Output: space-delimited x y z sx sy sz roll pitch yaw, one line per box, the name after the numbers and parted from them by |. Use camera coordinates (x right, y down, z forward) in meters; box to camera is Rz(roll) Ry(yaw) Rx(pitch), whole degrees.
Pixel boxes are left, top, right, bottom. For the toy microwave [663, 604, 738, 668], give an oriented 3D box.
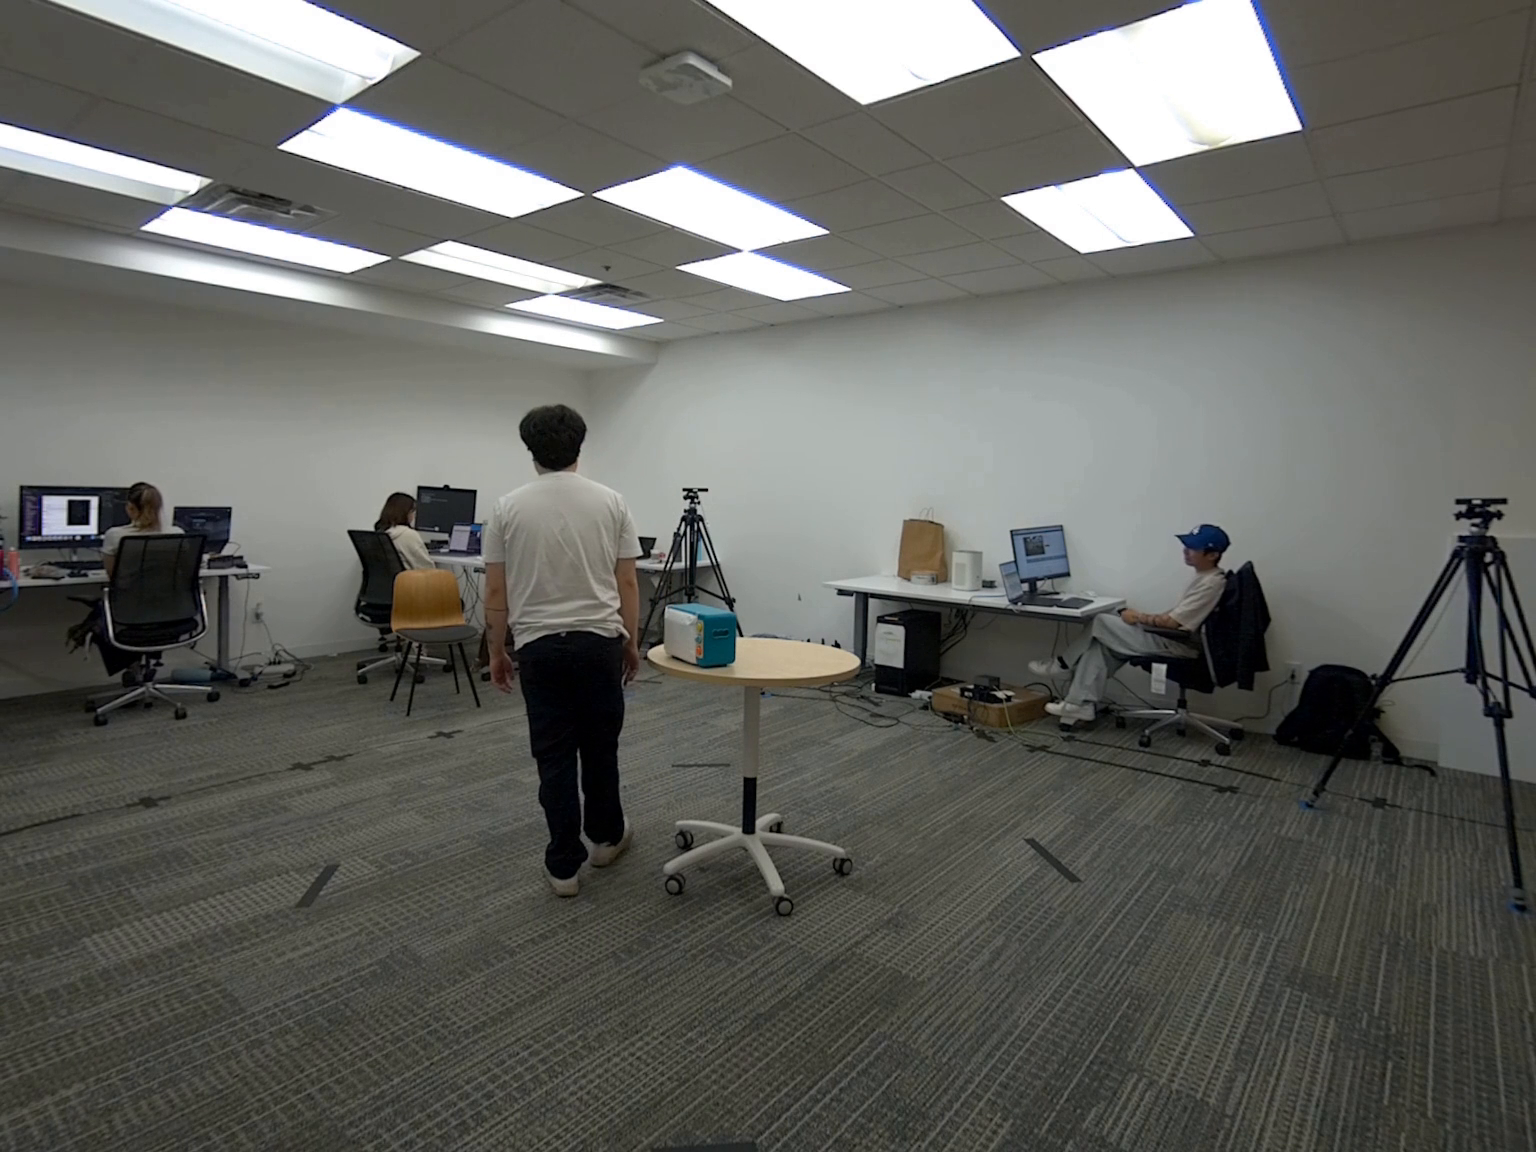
-0.252 0.202 2.939 0.148 0.183 0.295 -1 5 -34 | toy microwave
